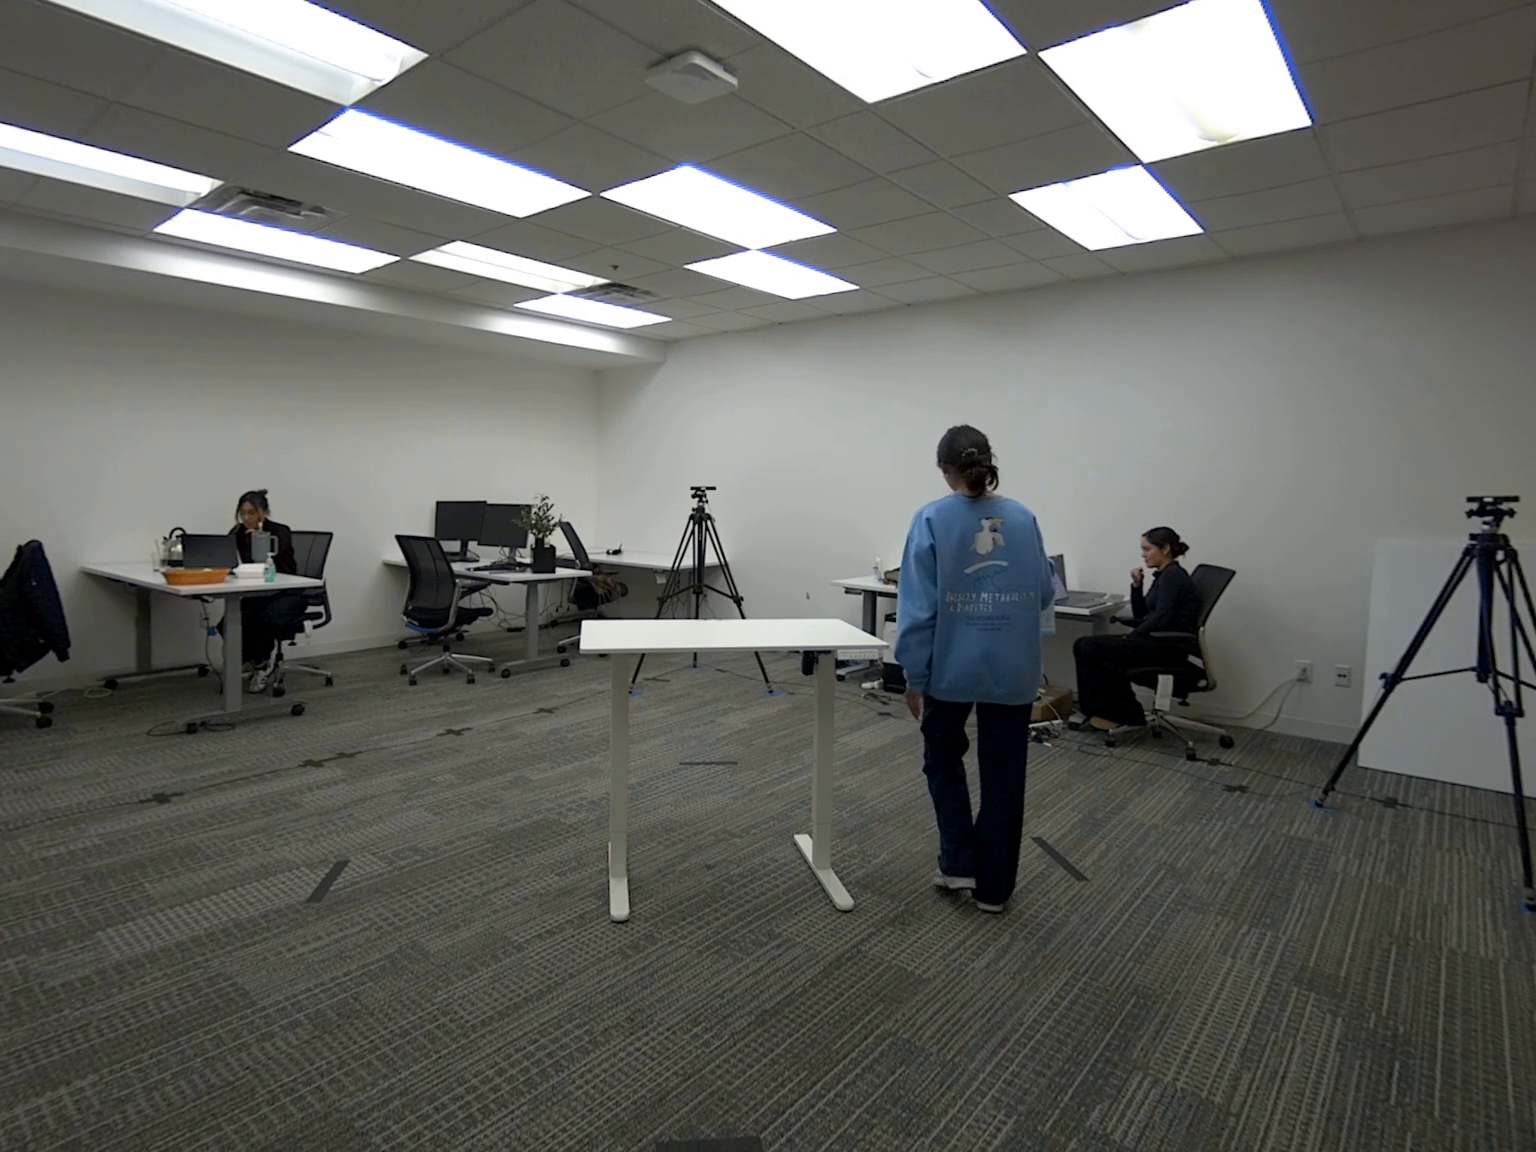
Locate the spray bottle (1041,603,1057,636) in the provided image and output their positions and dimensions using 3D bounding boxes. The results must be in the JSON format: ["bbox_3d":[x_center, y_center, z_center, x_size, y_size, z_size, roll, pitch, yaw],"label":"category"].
[{"bbox_3d":[1.010,0.066,3.172,0.090,0.298,0.086,-3,-3,5],"label":"spray bottle"}]
